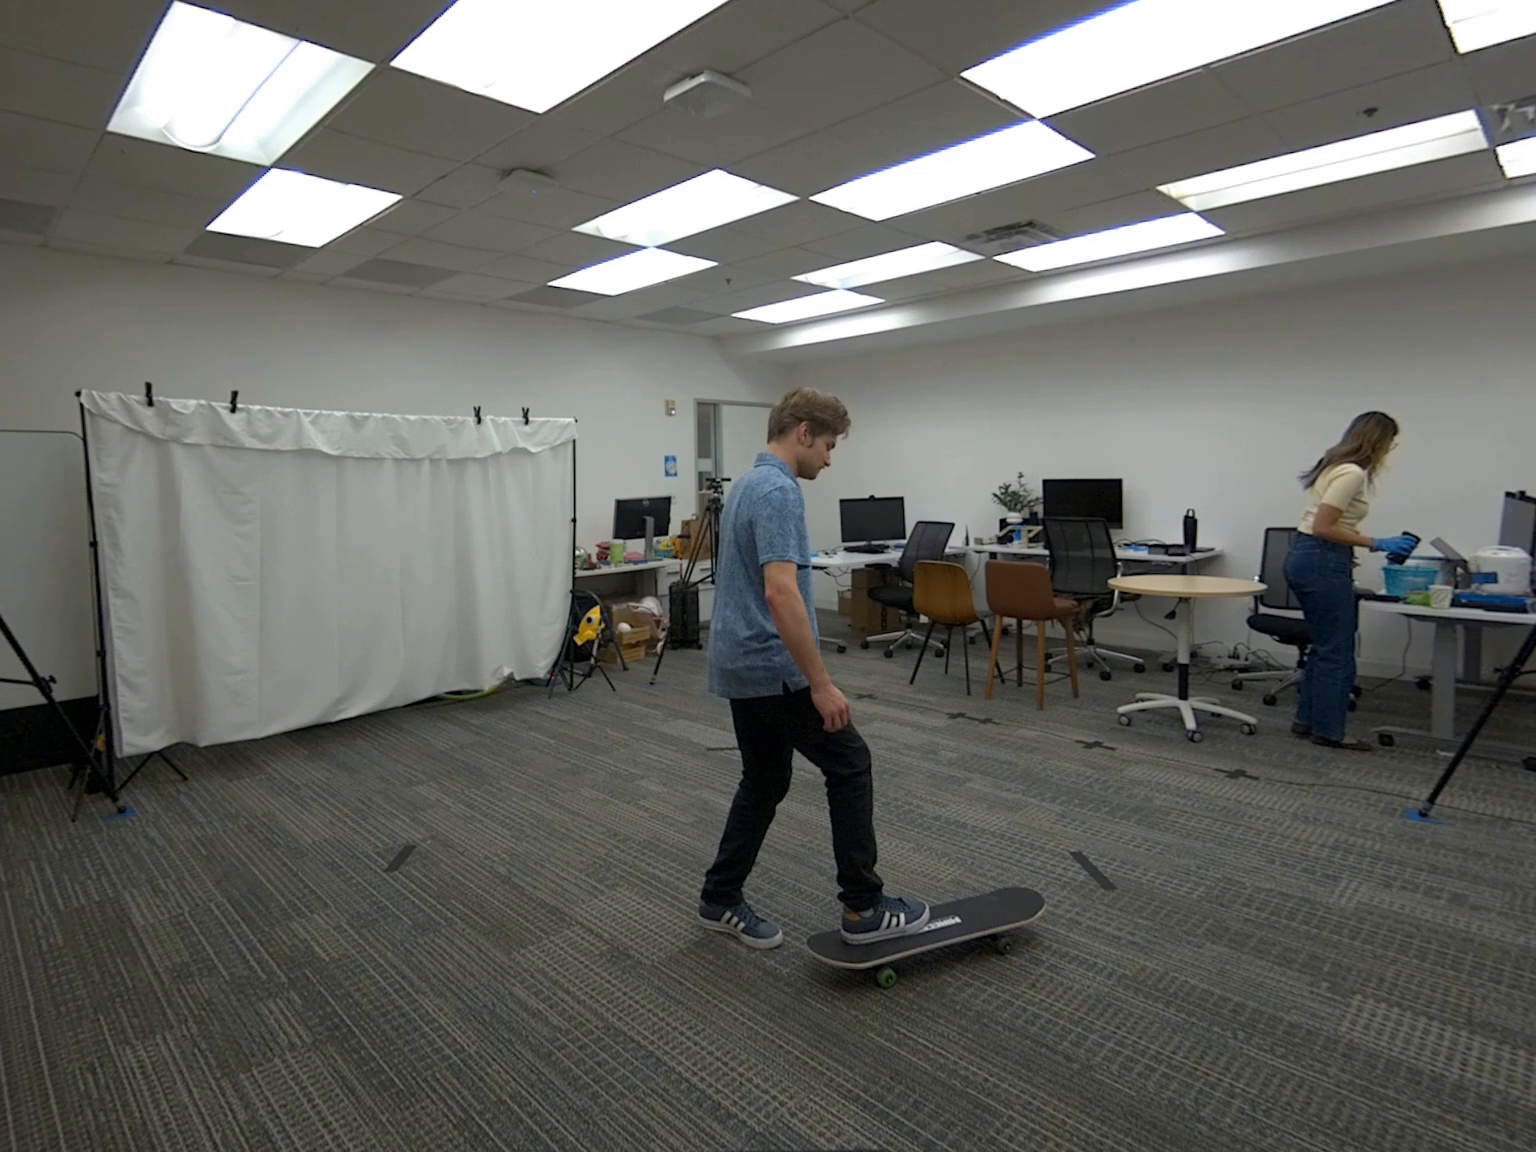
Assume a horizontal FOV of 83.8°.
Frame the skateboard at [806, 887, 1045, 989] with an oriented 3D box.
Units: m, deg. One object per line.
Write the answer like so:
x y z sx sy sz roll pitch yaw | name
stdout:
0.471 1.045 2.487 0.771 0.110 0.198 -4 5 -21 | skateboard
